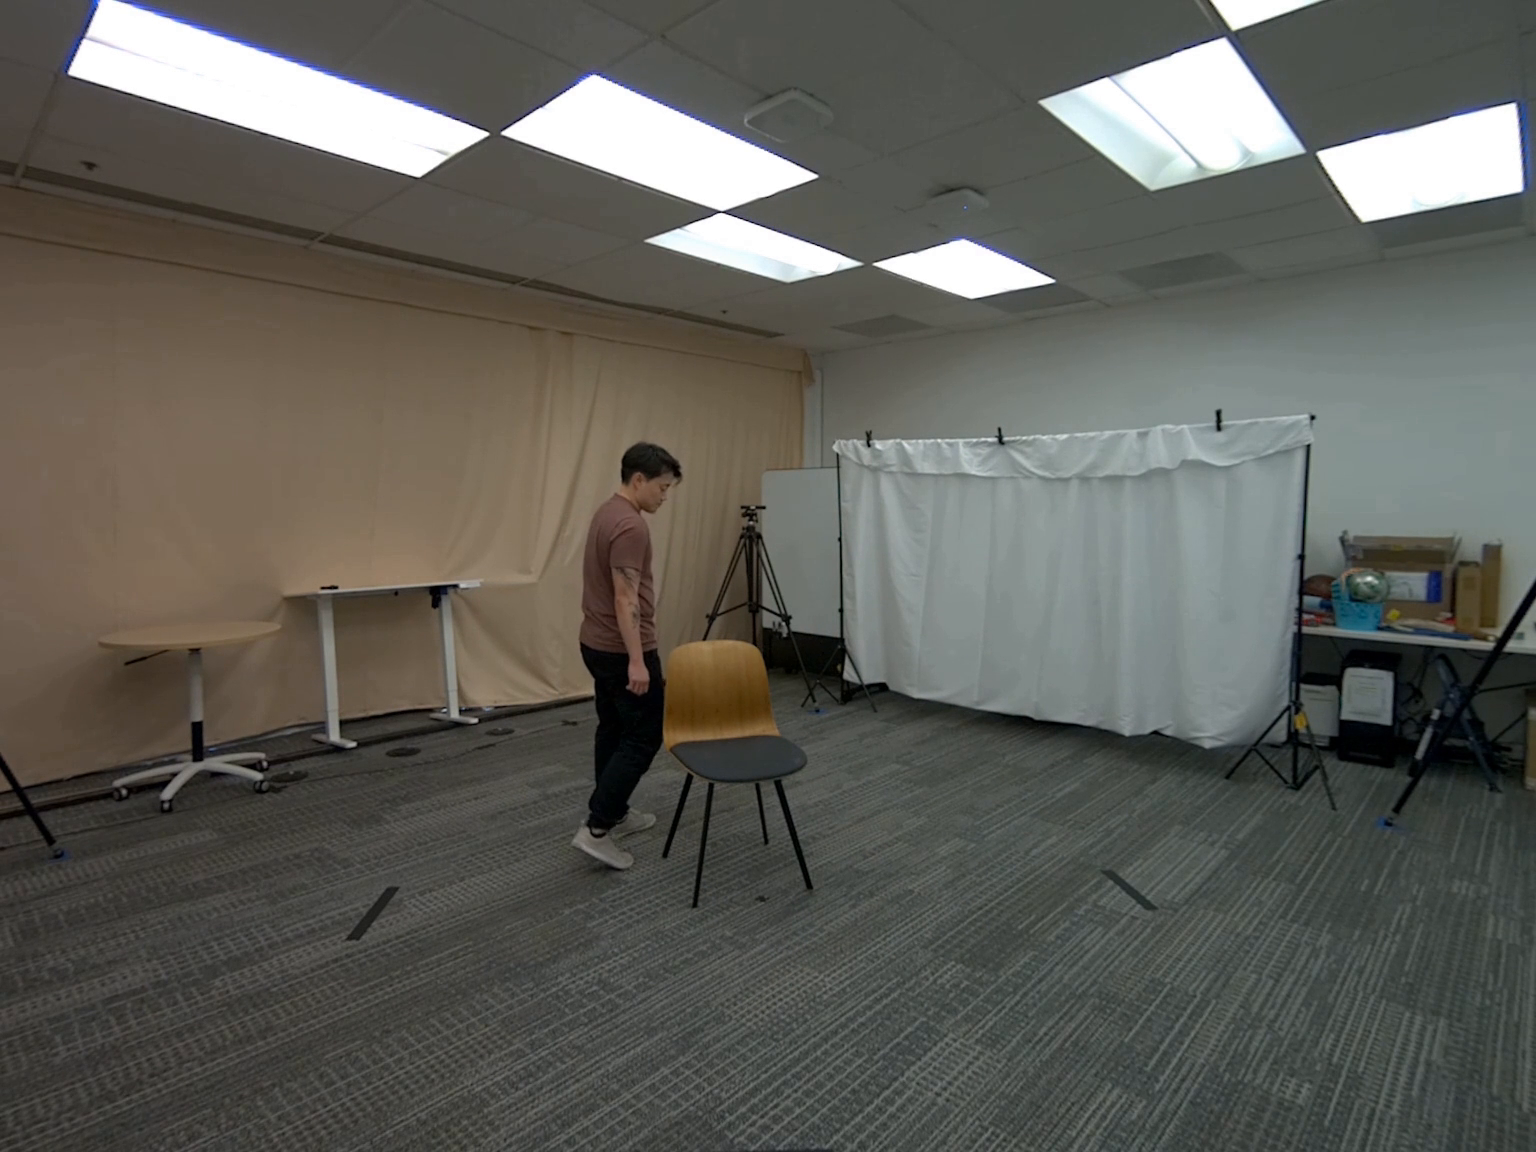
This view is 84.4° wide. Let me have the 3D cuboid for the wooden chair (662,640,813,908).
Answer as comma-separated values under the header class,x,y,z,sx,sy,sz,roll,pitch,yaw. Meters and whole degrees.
class,x,y,z,sx,sy,sz,roll,pitch,yaw
wooden chair,-0.126,0.704,3.157,0.469,0.878,0.533,-1,-1,-19
